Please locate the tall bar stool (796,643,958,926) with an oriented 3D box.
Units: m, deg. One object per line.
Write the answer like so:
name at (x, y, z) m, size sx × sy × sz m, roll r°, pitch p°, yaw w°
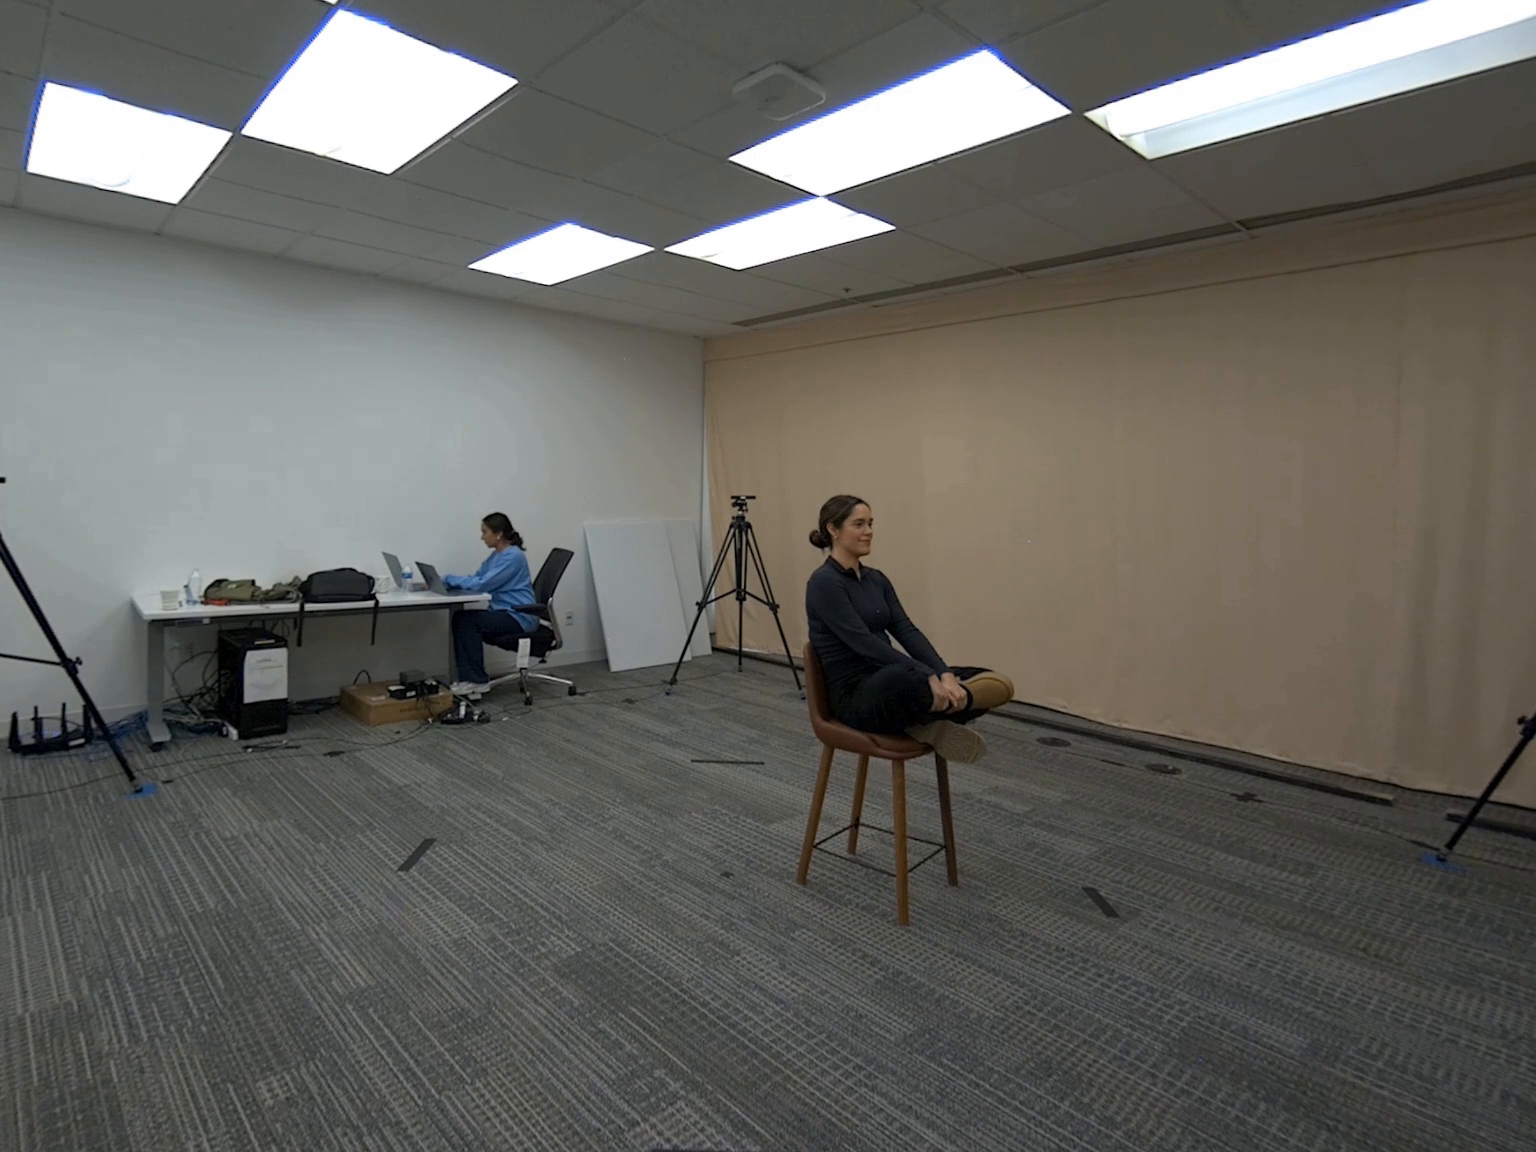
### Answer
tall bar stool at (0.393, 0.688, 3.035) m, size 0.479 × 0.888 × 0.446 m, roll 2°, pitch 2°, yaw 38°
